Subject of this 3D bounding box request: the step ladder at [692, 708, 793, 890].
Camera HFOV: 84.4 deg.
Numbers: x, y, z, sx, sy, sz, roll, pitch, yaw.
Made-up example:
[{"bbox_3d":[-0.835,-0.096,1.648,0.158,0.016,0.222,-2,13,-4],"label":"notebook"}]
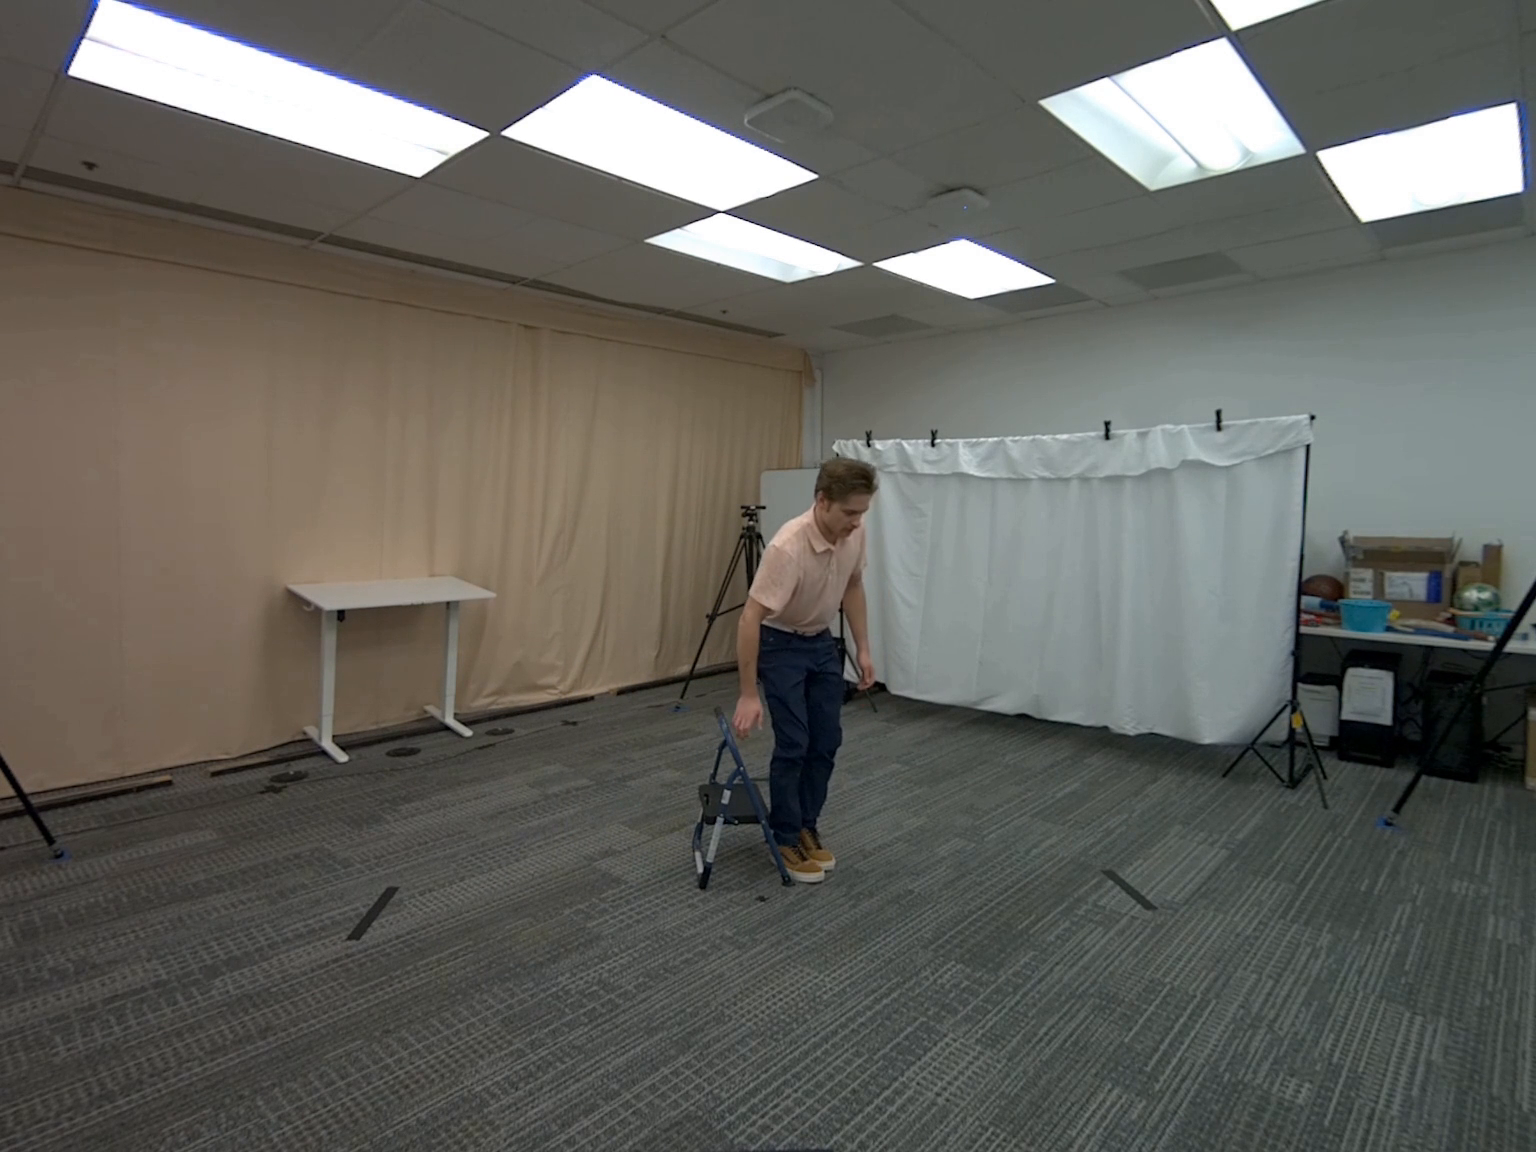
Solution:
[{"bbox_3d":[-0.113,0.825,3.263,0.346,0.605,0.435,0,3,-8],"label":"step ladder"}]
